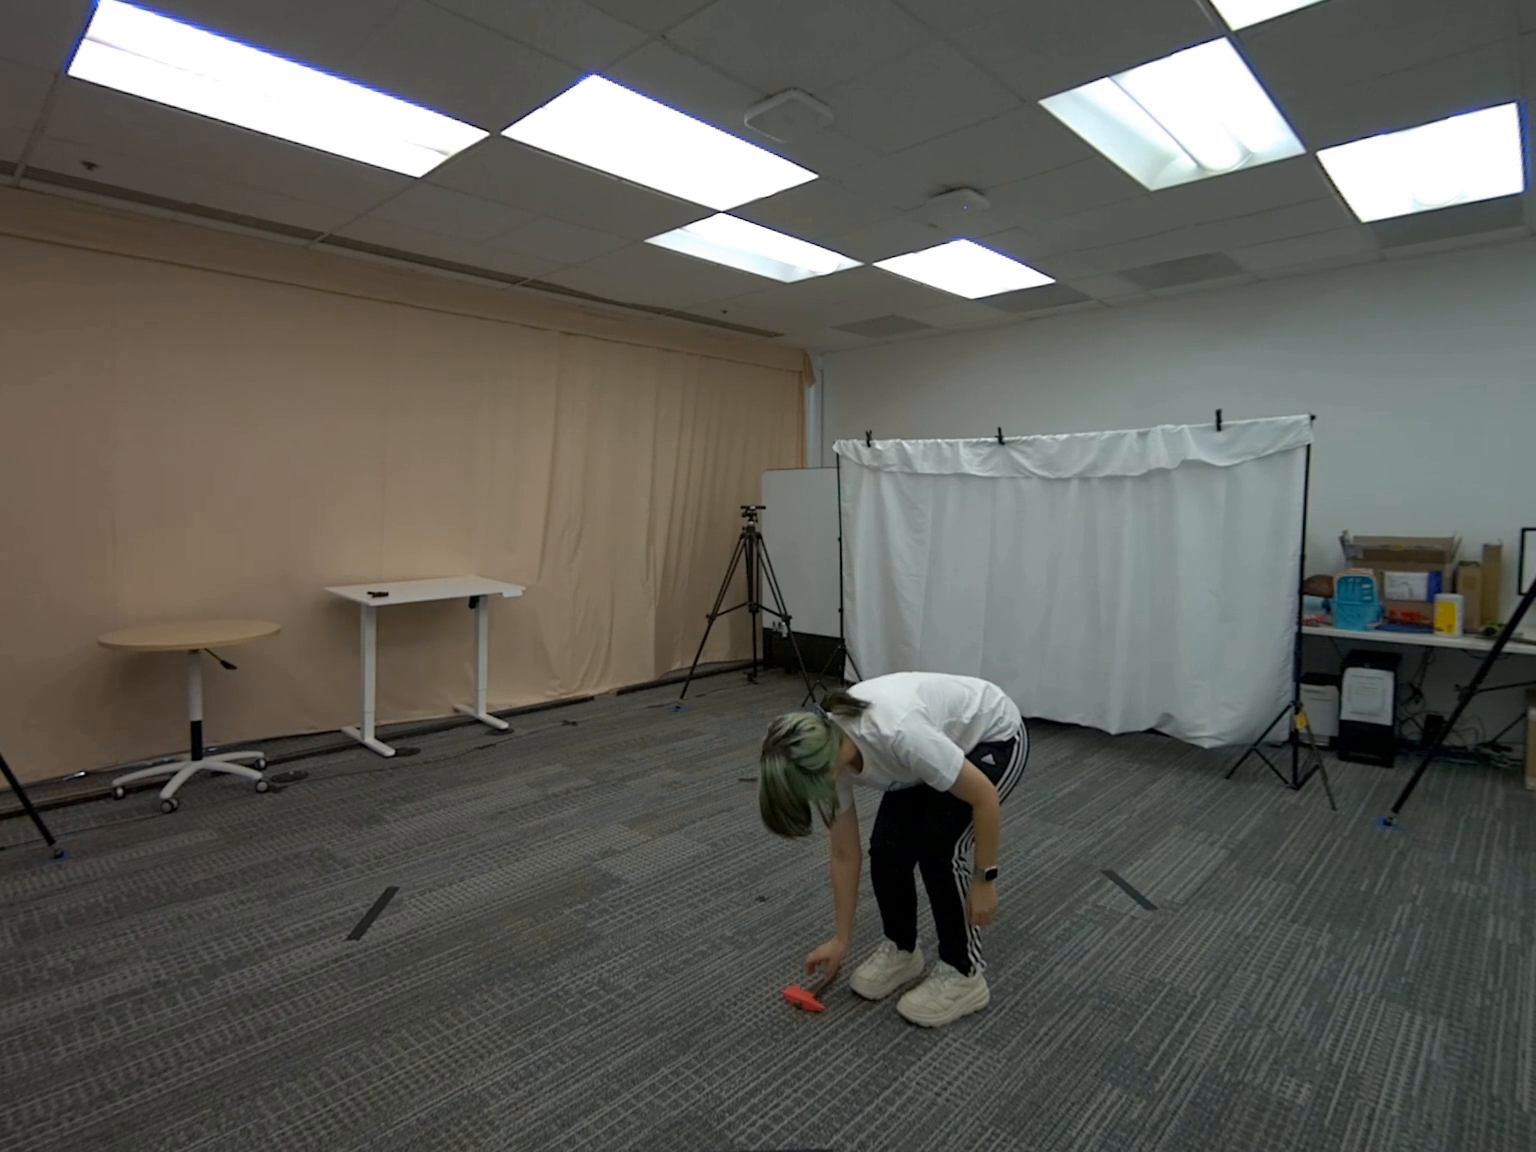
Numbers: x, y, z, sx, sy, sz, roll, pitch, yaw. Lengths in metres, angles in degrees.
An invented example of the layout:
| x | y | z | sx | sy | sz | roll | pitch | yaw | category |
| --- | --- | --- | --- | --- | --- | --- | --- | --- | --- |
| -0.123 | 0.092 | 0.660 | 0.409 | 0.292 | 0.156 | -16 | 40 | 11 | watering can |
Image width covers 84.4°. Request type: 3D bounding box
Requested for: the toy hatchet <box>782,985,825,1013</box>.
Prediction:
| x | y | z | sx | sy | sz | roll | pitch | yaw | category |
| --- | --- | --- | --- | --- | --- | --- | --- | --- | --- |
| 0.126 | 1.180 | 2.444 | 0.133 | 0.029 | 0.266 | 0 | 3 | 15 | toy hatchet |
